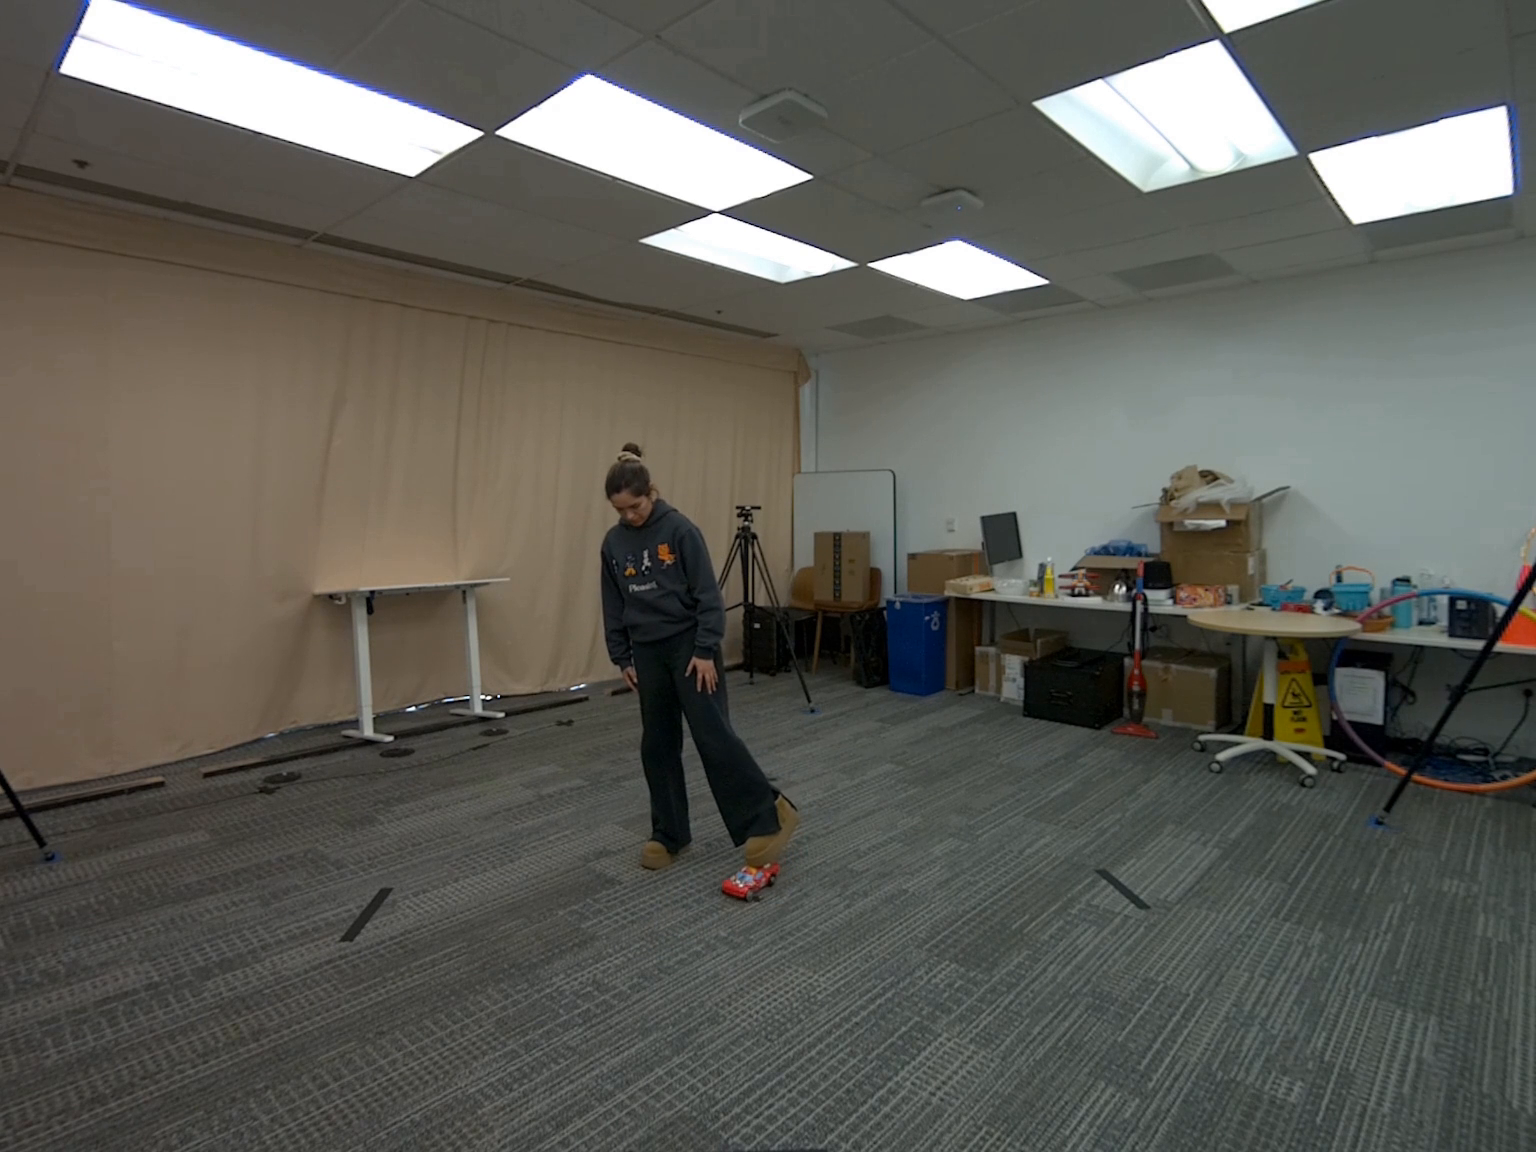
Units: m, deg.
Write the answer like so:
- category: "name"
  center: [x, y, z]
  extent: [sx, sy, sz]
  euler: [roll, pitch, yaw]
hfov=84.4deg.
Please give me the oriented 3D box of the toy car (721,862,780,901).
- category: "toy car"
  center: [-0.034, 1.102, 3.074]
  extent: [0.134, 0.082, 0.249]
  euler: [1, 15, 37]
